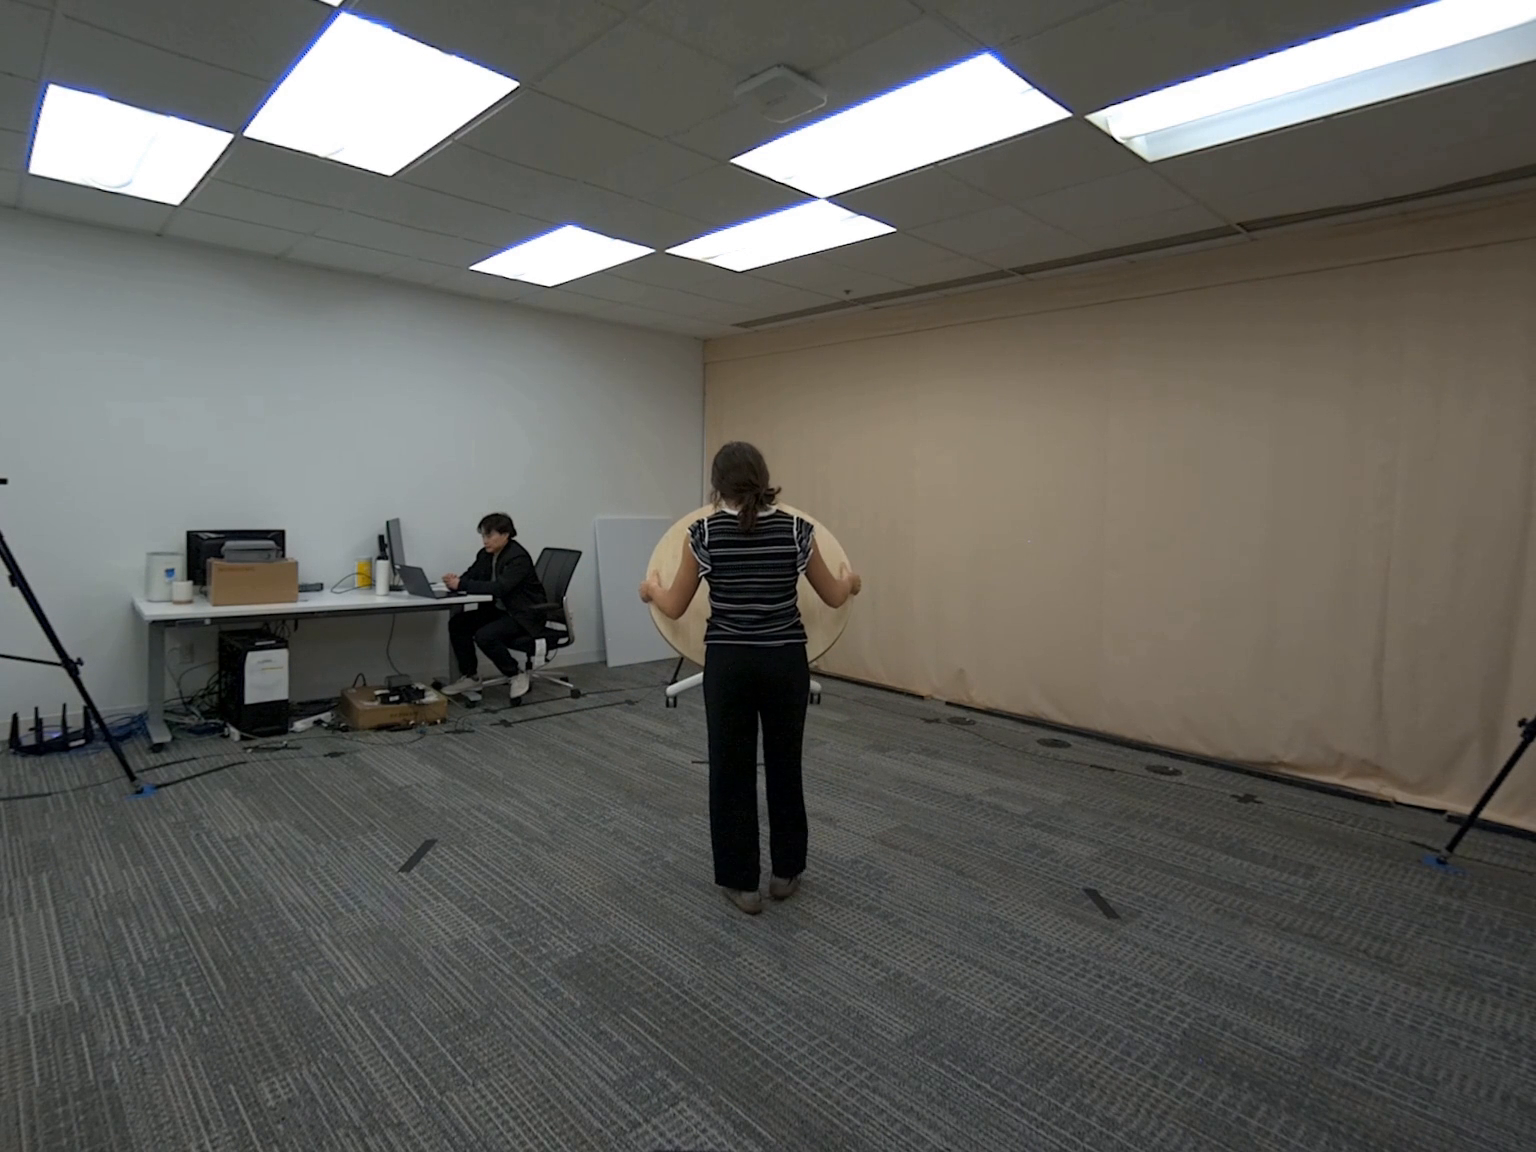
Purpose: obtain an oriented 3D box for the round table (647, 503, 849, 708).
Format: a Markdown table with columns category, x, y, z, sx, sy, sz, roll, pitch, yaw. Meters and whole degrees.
| category | x | y | z | sx | sy | sz | roll | pitch | yaw |
| --- | --- | --- | --- | --- | --- | --- | --- | --- | --- |
| round table | -0.090 | 0.243 | 3.432 | 0.763 | 0.779 | 0.779 | 1 | -33 | -2 |
